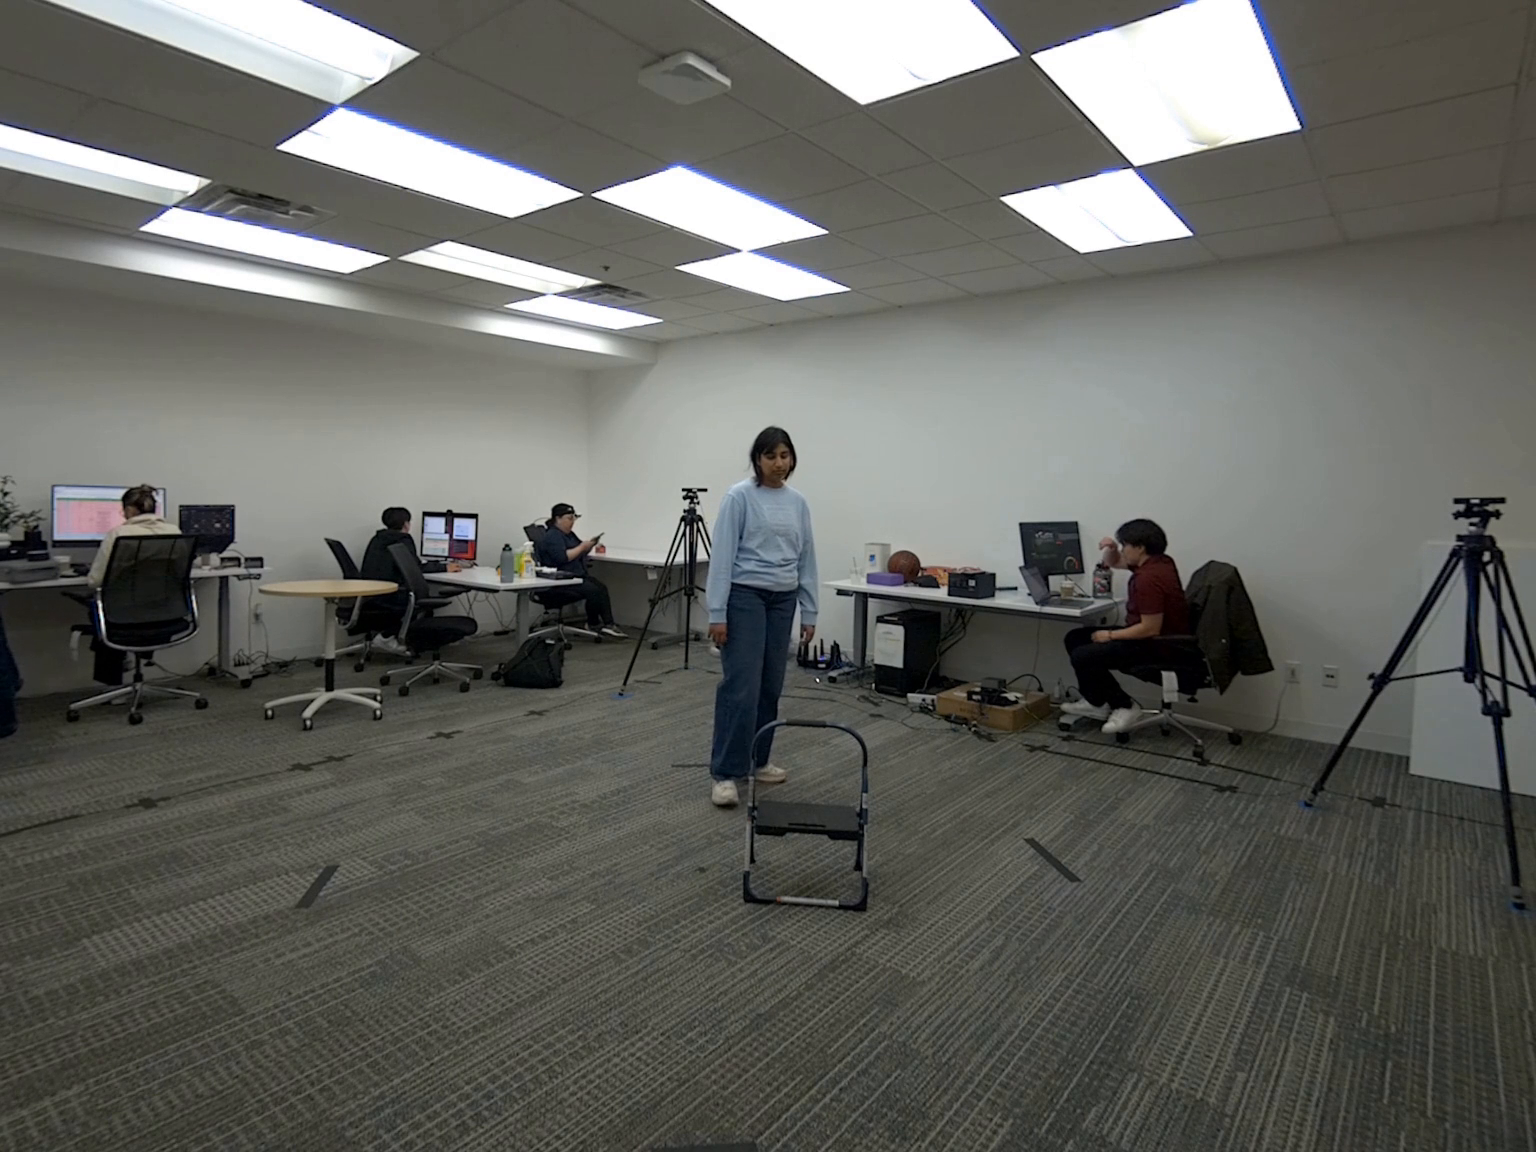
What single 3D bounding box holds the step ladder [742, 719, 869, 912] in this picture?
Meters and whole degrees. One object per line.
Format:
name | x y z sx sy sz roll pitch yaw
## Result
step ladder | 0.131 0.785 2.992 0.433 0.605 0.348 1 3 4
